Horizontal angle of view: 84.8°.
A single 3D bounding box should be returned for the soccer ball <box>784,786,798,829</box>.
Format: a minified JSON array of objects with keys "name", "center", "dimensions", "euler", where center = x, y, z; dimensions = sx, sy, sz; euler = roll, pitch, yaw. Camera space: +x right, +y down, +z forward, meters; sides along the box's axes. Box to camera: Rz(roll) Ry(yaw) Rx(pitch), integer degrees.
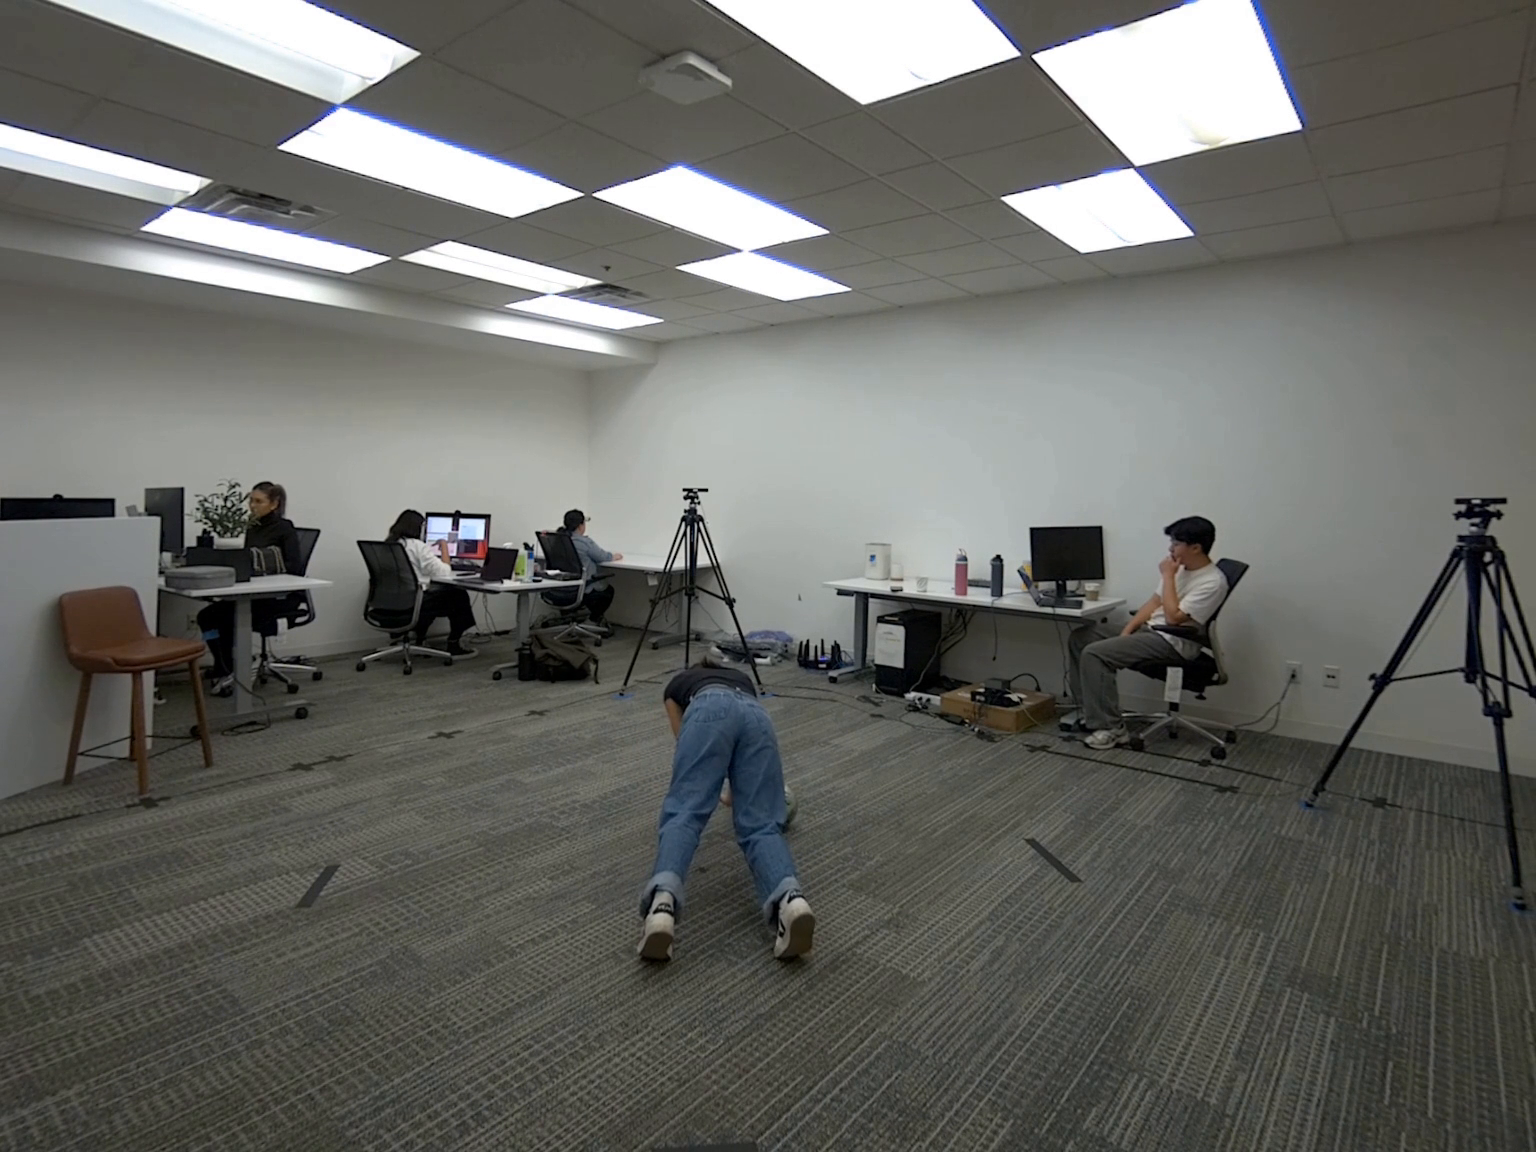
[{"name":"soccer ball","center":[0.041,0.924,3.504],"dimensions":[0.187,0.187,0.188],"euler":[1,4,-2]}]
